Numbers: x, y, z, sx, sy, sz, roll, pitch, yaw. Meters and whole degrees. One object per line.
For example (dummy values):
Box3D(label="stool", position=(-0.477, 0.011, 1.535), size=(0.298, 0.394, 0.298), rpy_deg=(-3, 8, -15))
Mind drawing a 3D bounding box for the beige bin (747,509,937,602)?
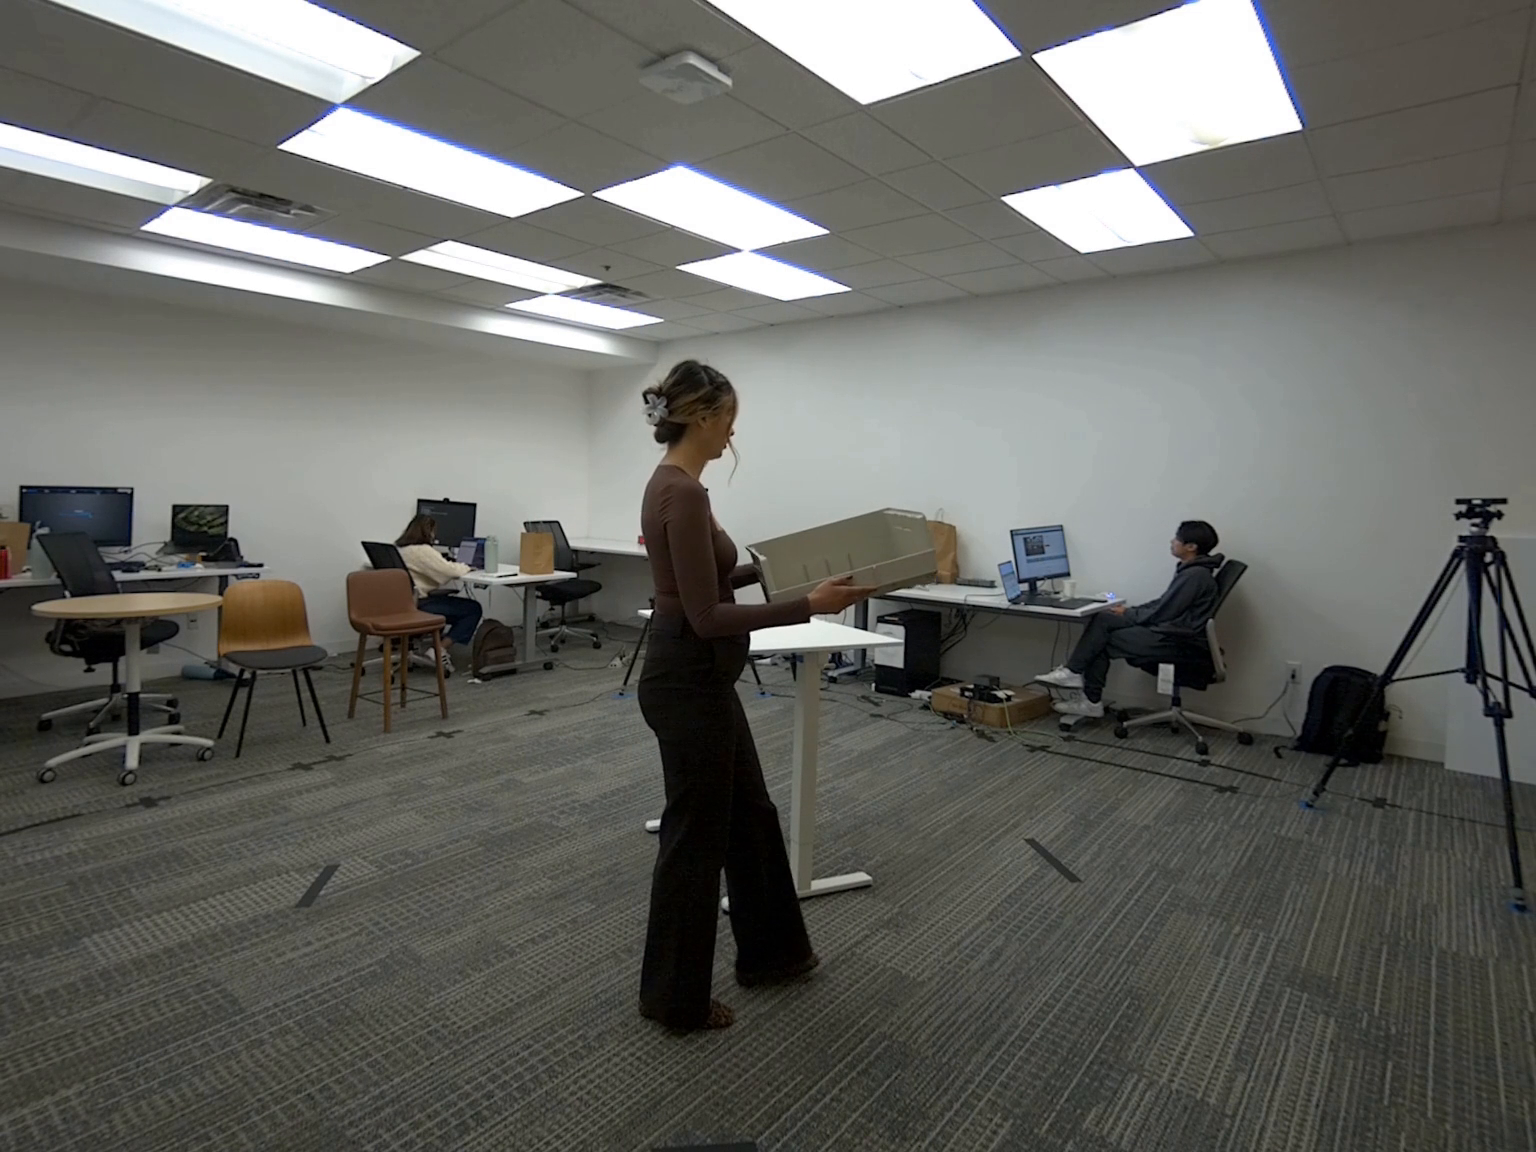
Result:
Box3D(label="beige bin", position=(0.182, -0.036, 2.211), size=(0.421, 0.188, 0.381), rpy_deg=(-16, 6, -4))
